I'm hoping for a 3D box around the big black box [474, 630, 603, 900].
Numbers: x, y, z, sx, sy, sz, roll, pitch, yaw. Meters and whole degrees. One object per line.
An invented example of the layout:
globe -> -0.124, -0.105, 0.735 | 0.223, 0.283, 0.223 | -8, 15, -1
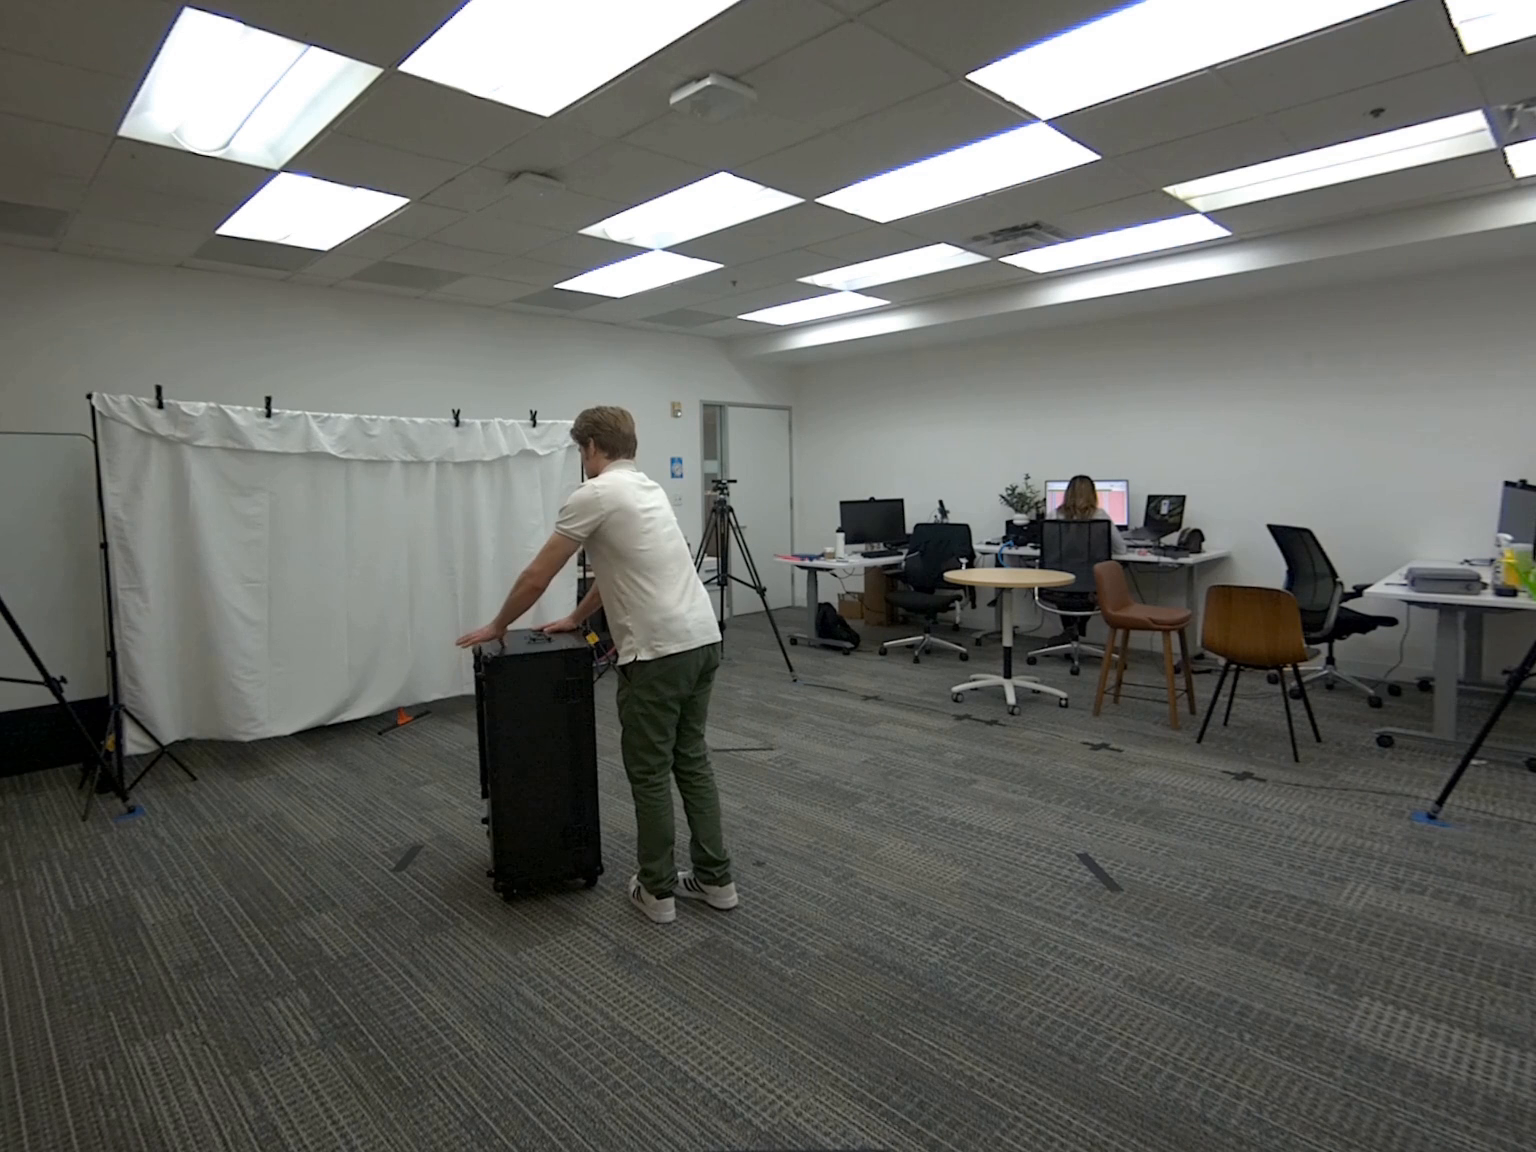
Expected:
big black box -> -0.811, 0.646, 3.031 | 0.378, 0.866, 0.535 | -2, 4, -22
